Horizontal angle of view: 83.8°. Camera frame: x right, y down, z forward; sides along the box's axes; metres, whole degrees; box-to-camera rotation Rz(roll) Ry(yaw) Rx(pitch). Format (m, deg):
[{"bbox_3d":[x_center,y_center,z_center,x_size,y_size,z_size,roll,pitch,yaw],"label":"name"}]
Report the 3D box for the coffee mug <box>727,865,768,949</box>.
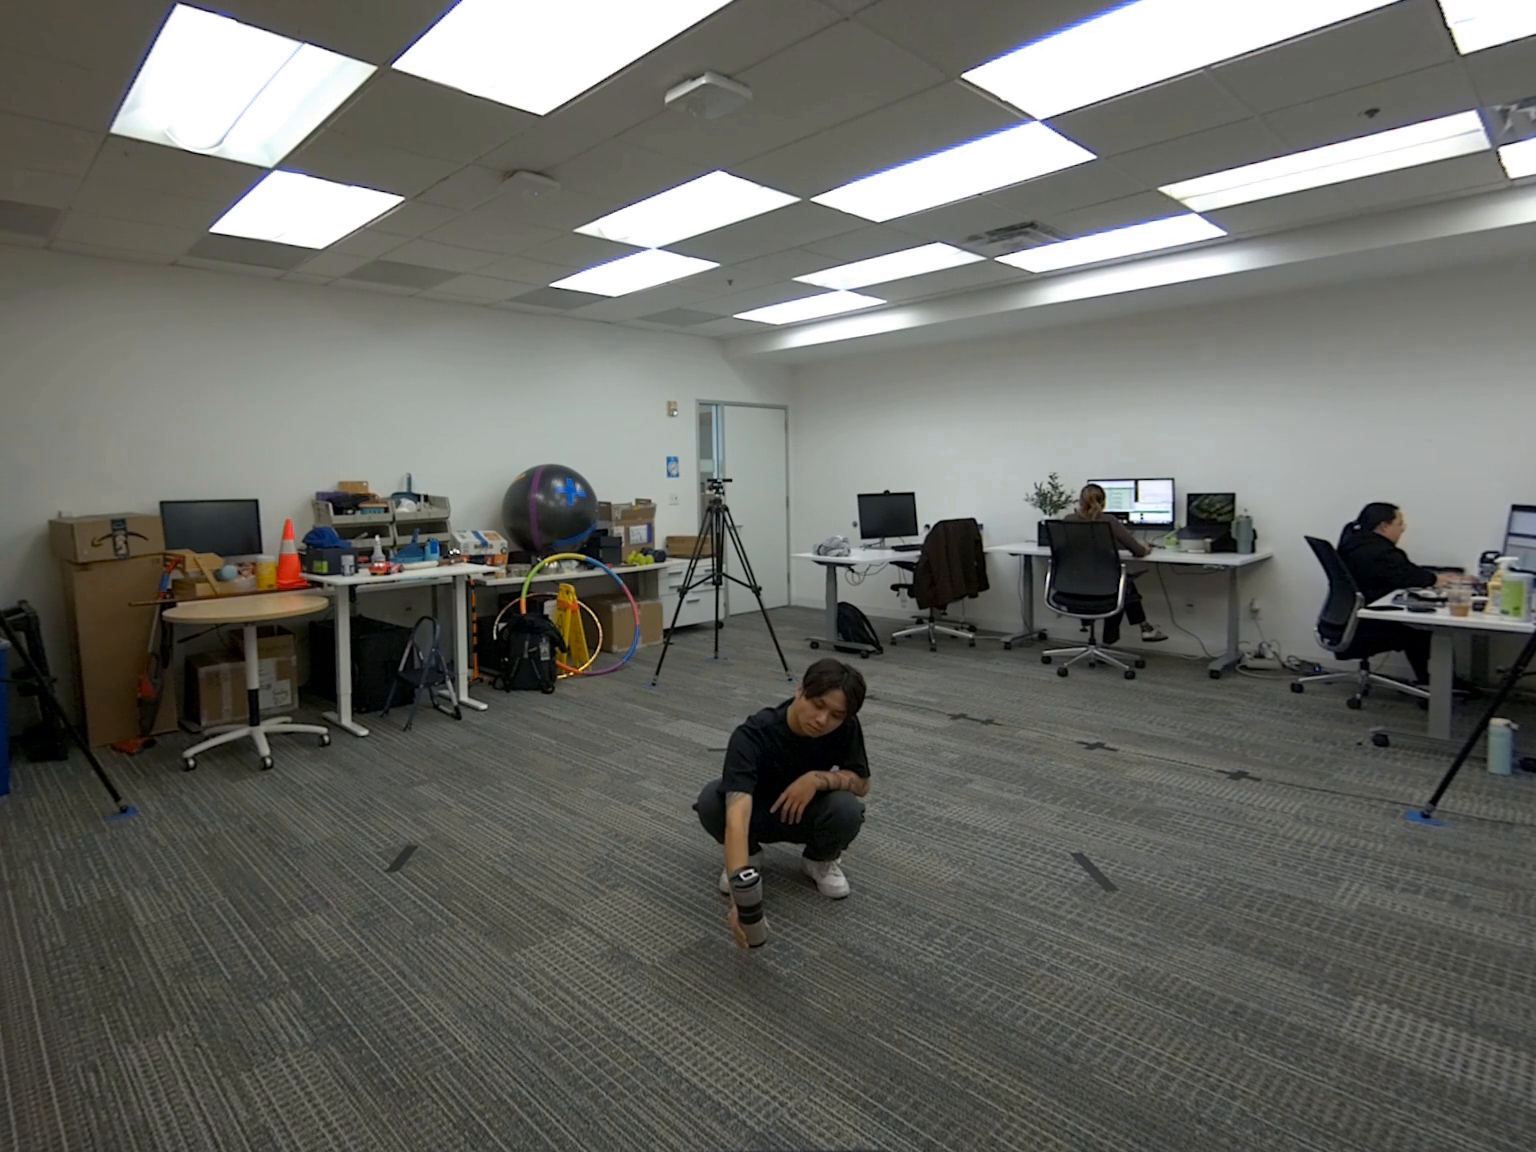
[{"bbox_3d":[-0.032,0.904,2.354,0.090,0.200,0.120,-3,15,43],"label":"coffee mug"}]
